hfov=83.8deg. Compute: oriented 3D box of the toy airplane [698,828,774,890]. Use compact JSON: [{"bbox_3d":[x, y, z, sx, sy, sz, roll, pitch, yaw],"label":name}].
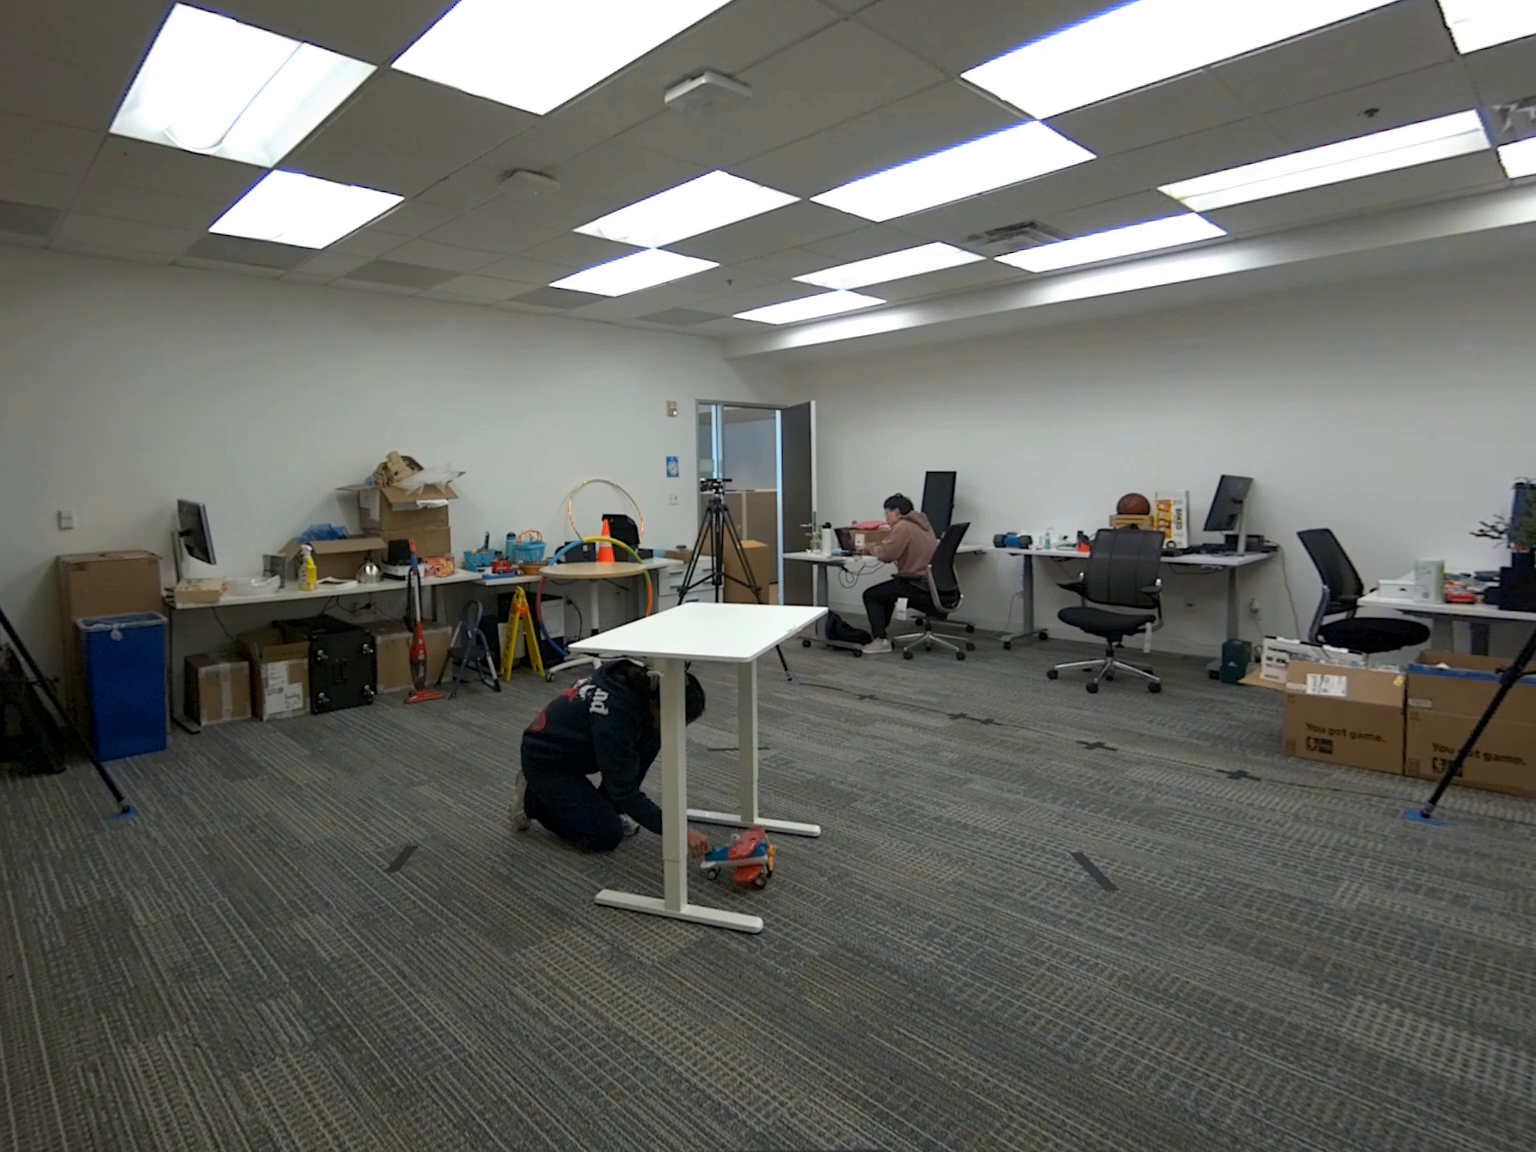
[{"bbox_3d":[-0.110,0.987,2.933,0.256,0.156,0.255,-1,3,-14],"label":"toy airplane"}]
